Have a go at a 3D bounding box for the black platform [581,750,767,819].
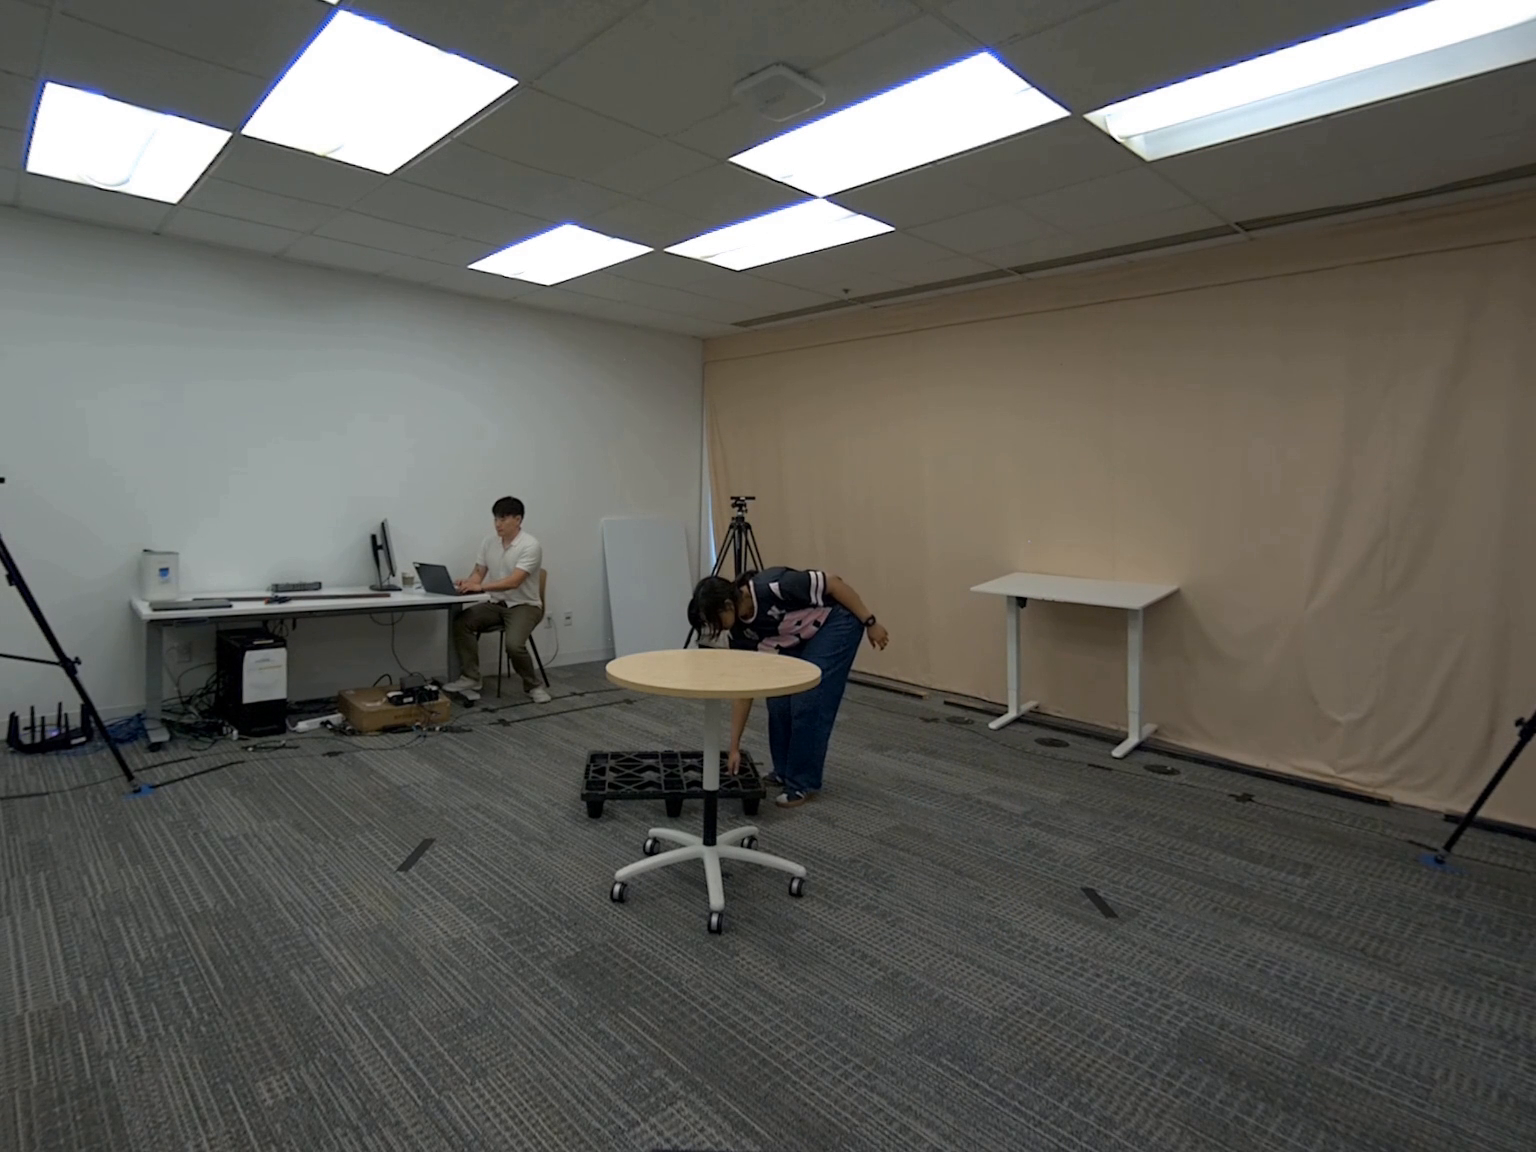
[{"bbox_3d":[-0.454,0.960,3.889,0.800,0.143,0.611,1,6,-8],"label":"black platform"}]
